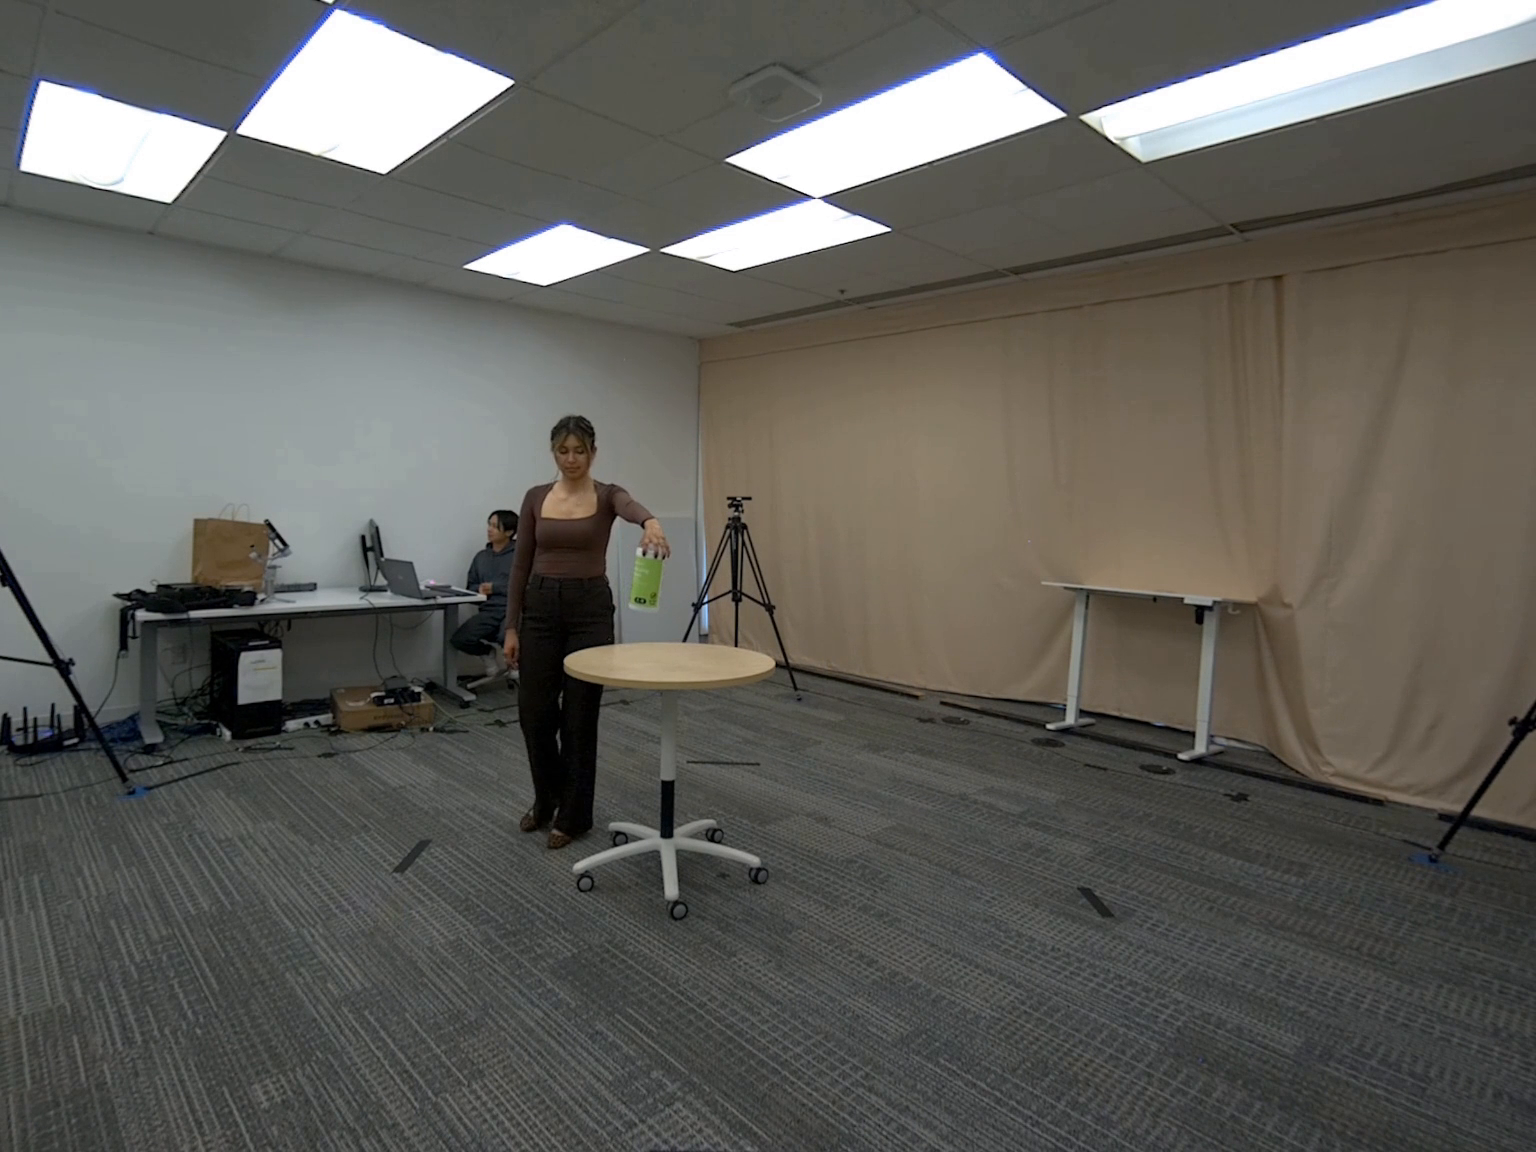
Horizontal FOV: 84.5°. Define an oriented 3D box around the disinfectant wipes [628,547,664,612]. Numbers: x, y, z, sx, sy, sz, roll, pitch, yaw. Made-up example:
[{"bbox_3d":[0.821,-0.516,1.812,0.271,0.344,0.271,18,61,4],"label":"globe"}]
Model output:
[{"bbox_3d":[-0.428,0.014,2.909,0.117,0.217,0.118,7,5,-2],"label":"disinfectant wipes"}]
